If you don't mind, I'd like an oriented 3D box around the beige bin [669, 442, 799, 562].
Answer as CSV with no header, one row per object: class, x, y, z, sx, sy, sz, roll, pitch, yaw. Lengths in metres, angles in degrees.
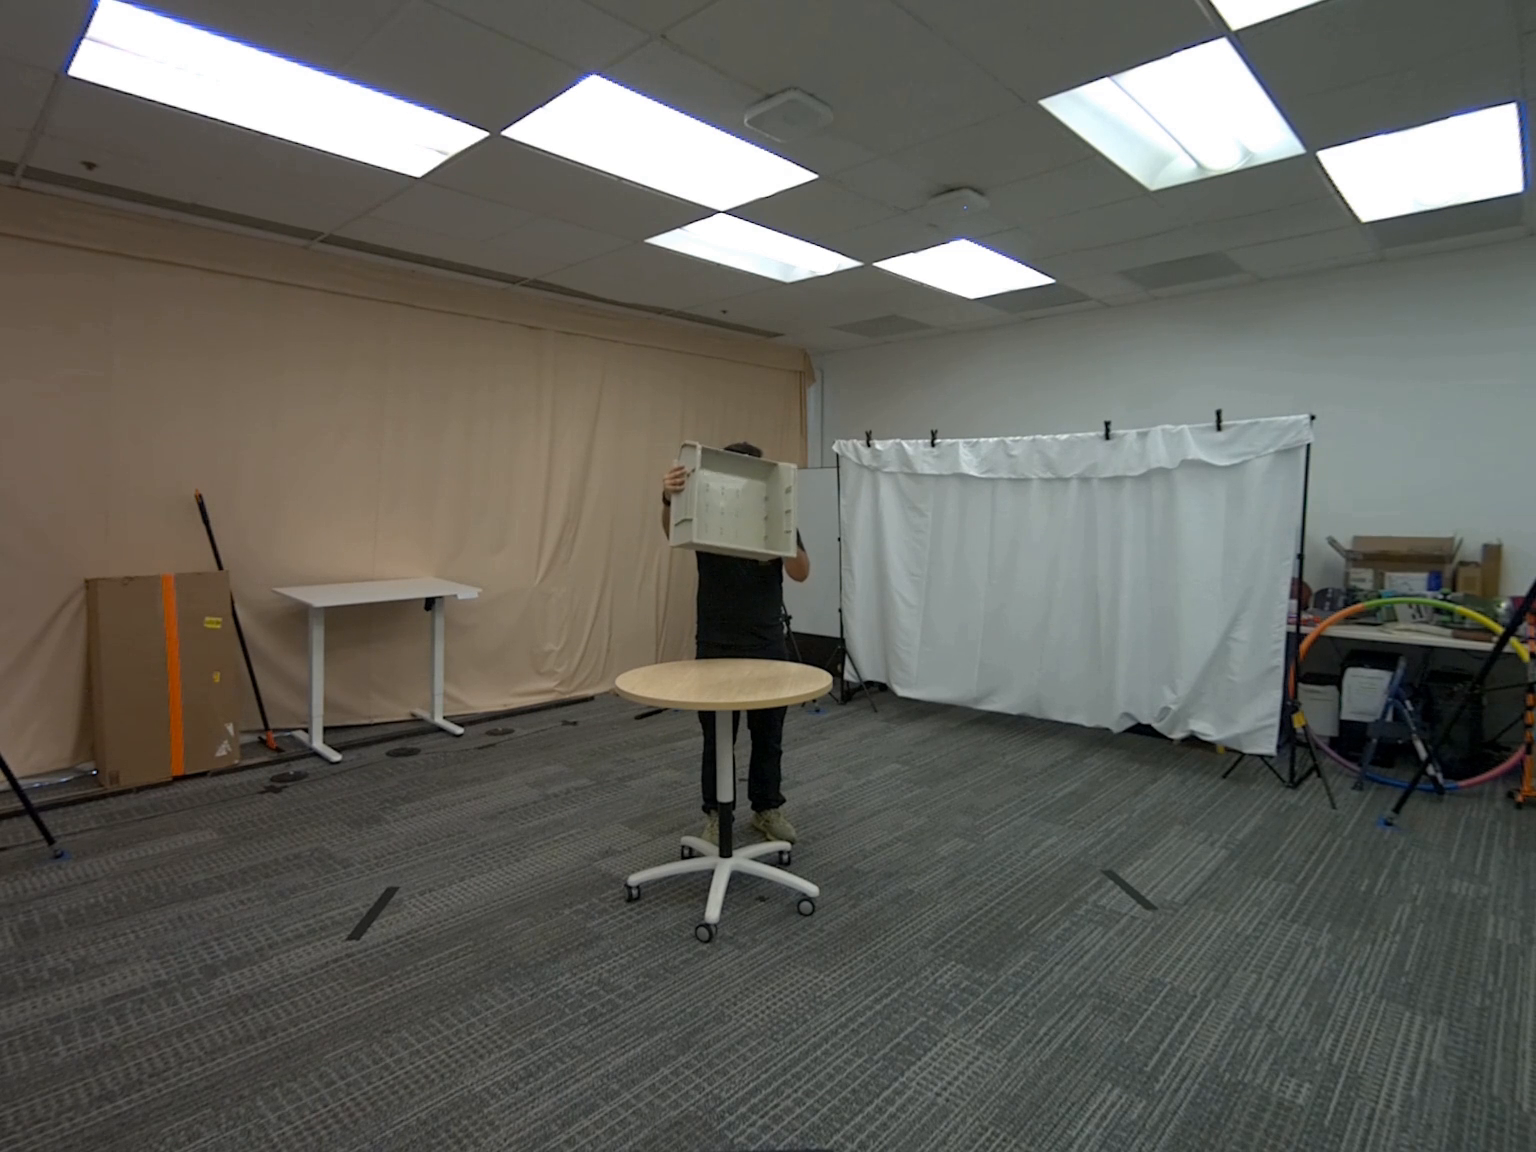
beige bin,-0.122,-0.258,2.990,0.409,0.380,0.193,8,-12,-32
